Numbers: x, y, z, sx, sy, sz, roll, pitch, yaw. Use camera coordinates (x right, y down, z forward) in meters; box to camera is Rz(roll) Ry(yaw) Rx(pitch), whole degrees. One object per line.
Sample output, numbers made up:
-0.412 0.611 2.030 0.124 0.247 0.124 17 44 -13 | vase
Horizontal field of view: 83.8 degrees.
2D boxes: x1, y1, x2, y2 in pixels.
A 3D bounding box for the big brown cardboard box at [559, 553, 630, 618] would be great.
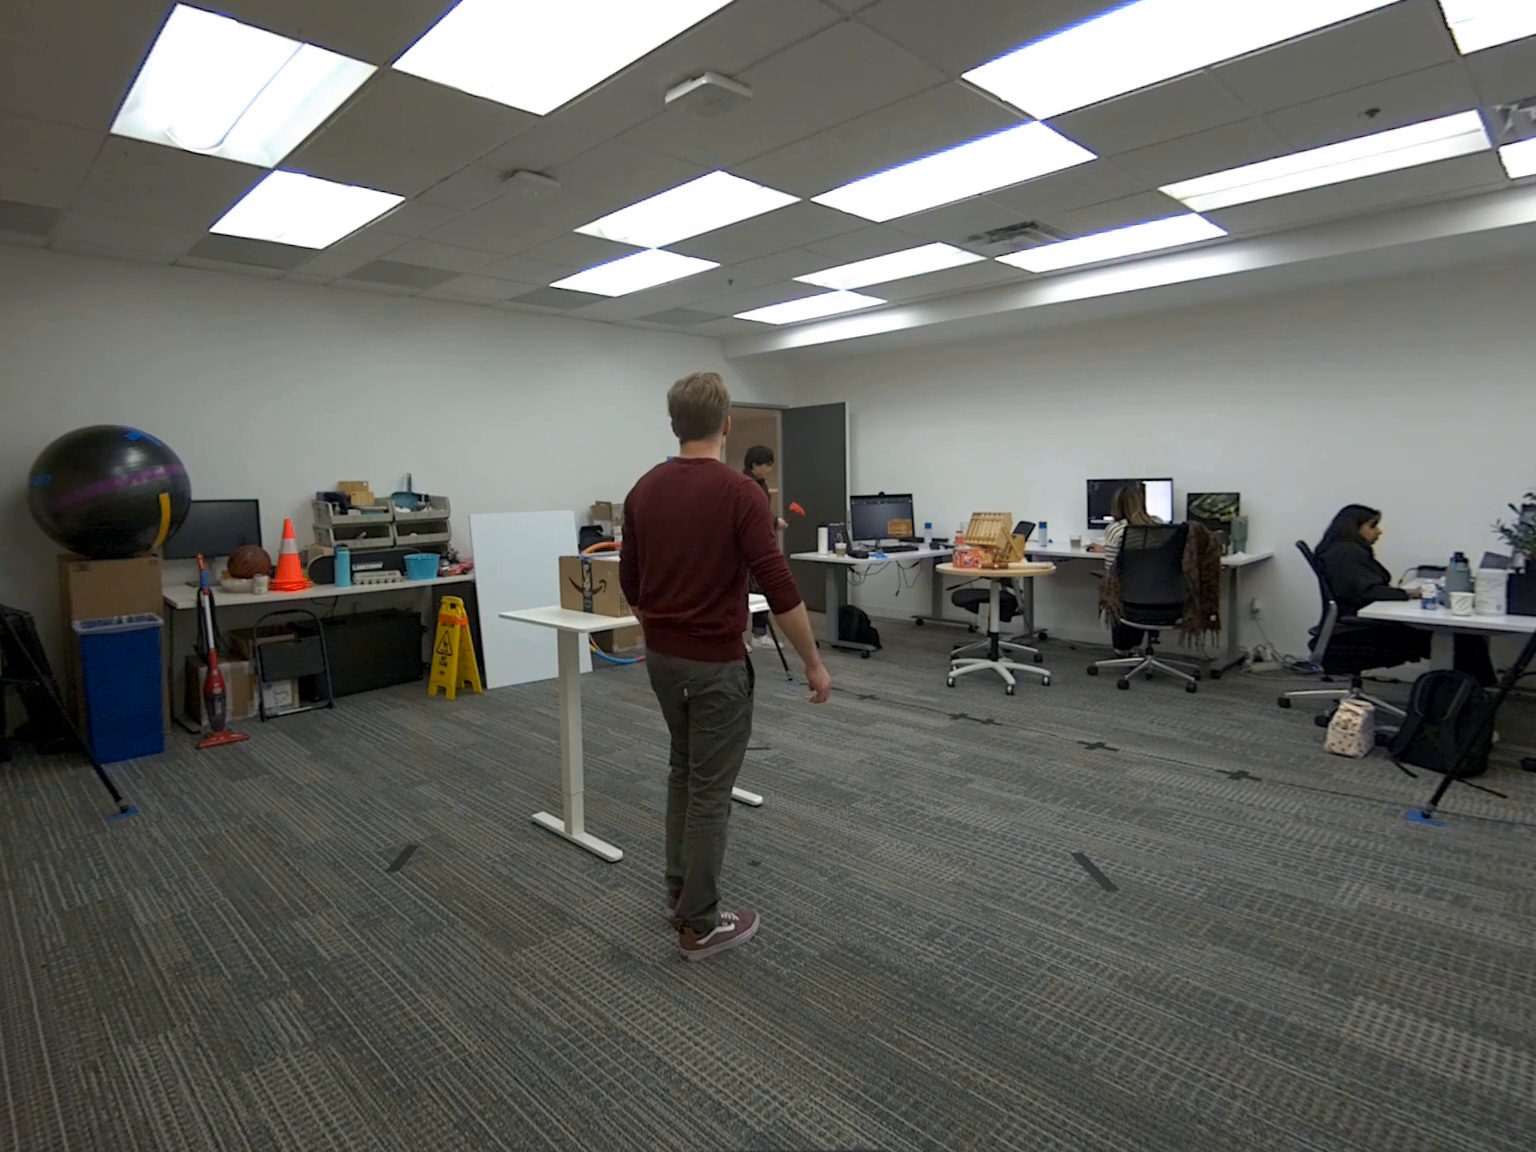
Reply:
-0.524 0.012 3.559 0.573 0.232 0.430 -7 7 -44 | big brown cardboard box
